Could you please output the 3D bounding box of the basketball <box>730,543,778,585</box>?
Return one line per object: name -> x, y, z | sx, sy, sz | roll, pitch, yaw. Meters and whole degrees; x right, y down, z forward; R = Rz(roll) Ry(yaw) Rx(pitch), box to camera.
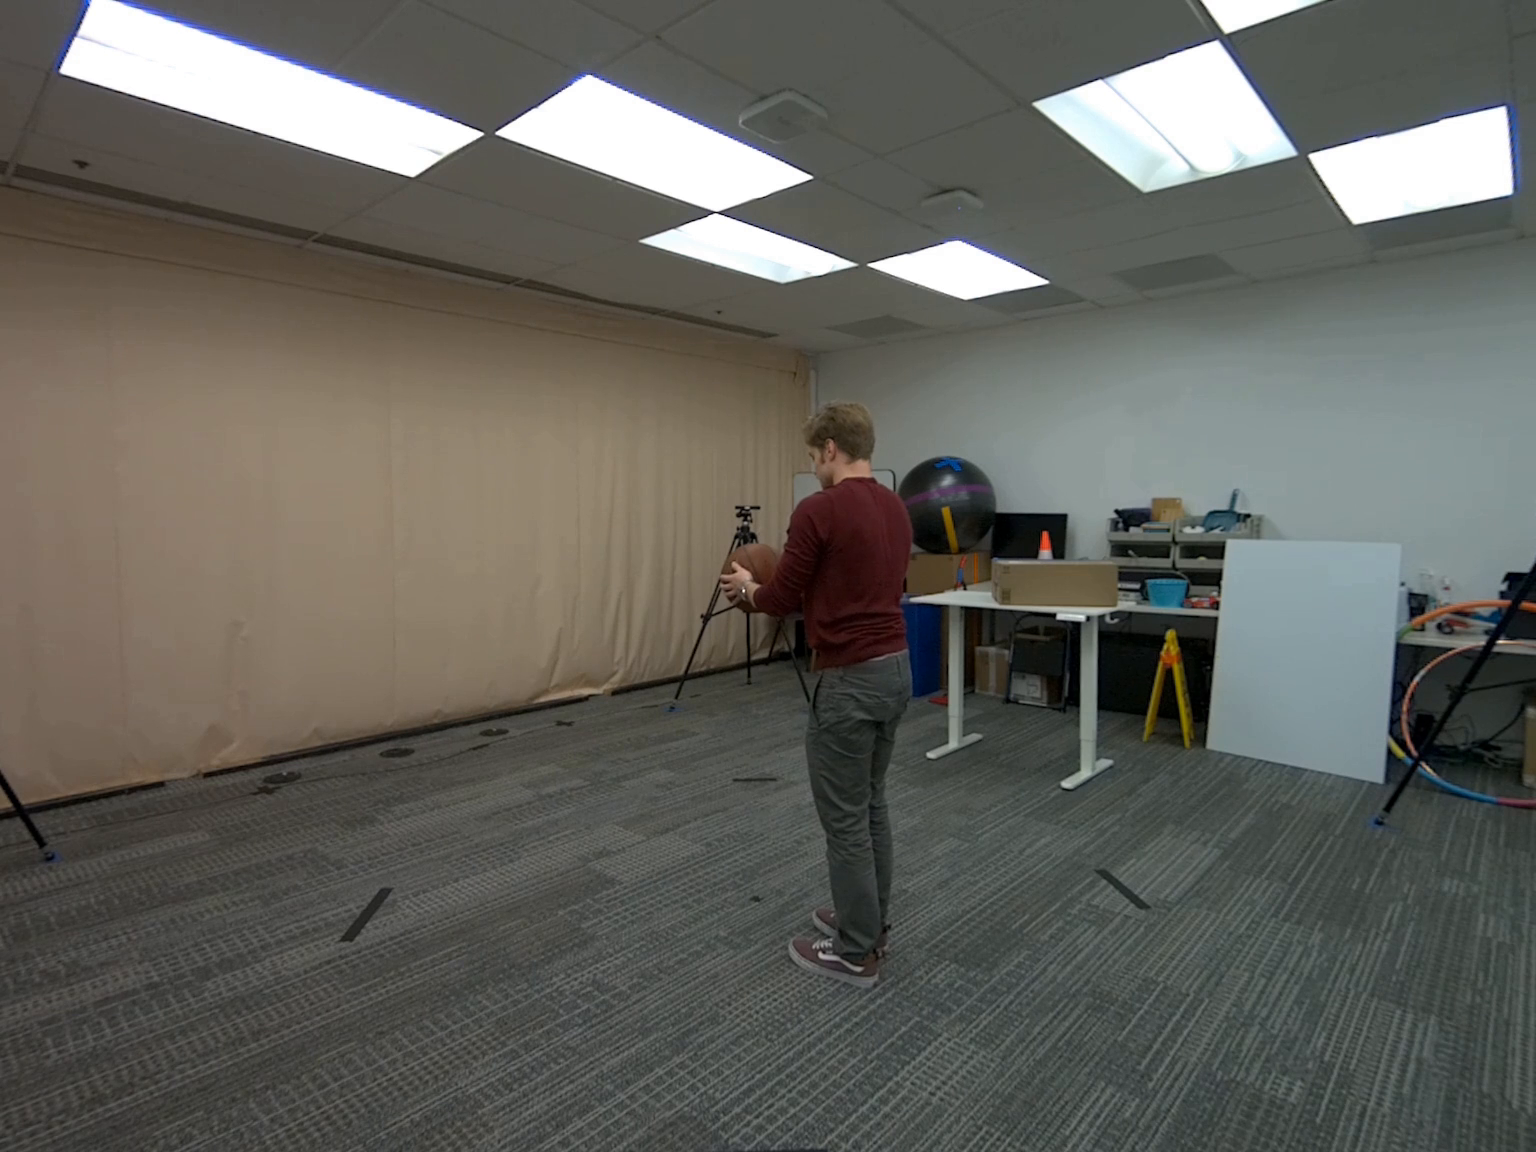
basketball -> -0.043, 0.004, 2.870 | 0.236, 0.235, 0.237 | 0, 4, -2
